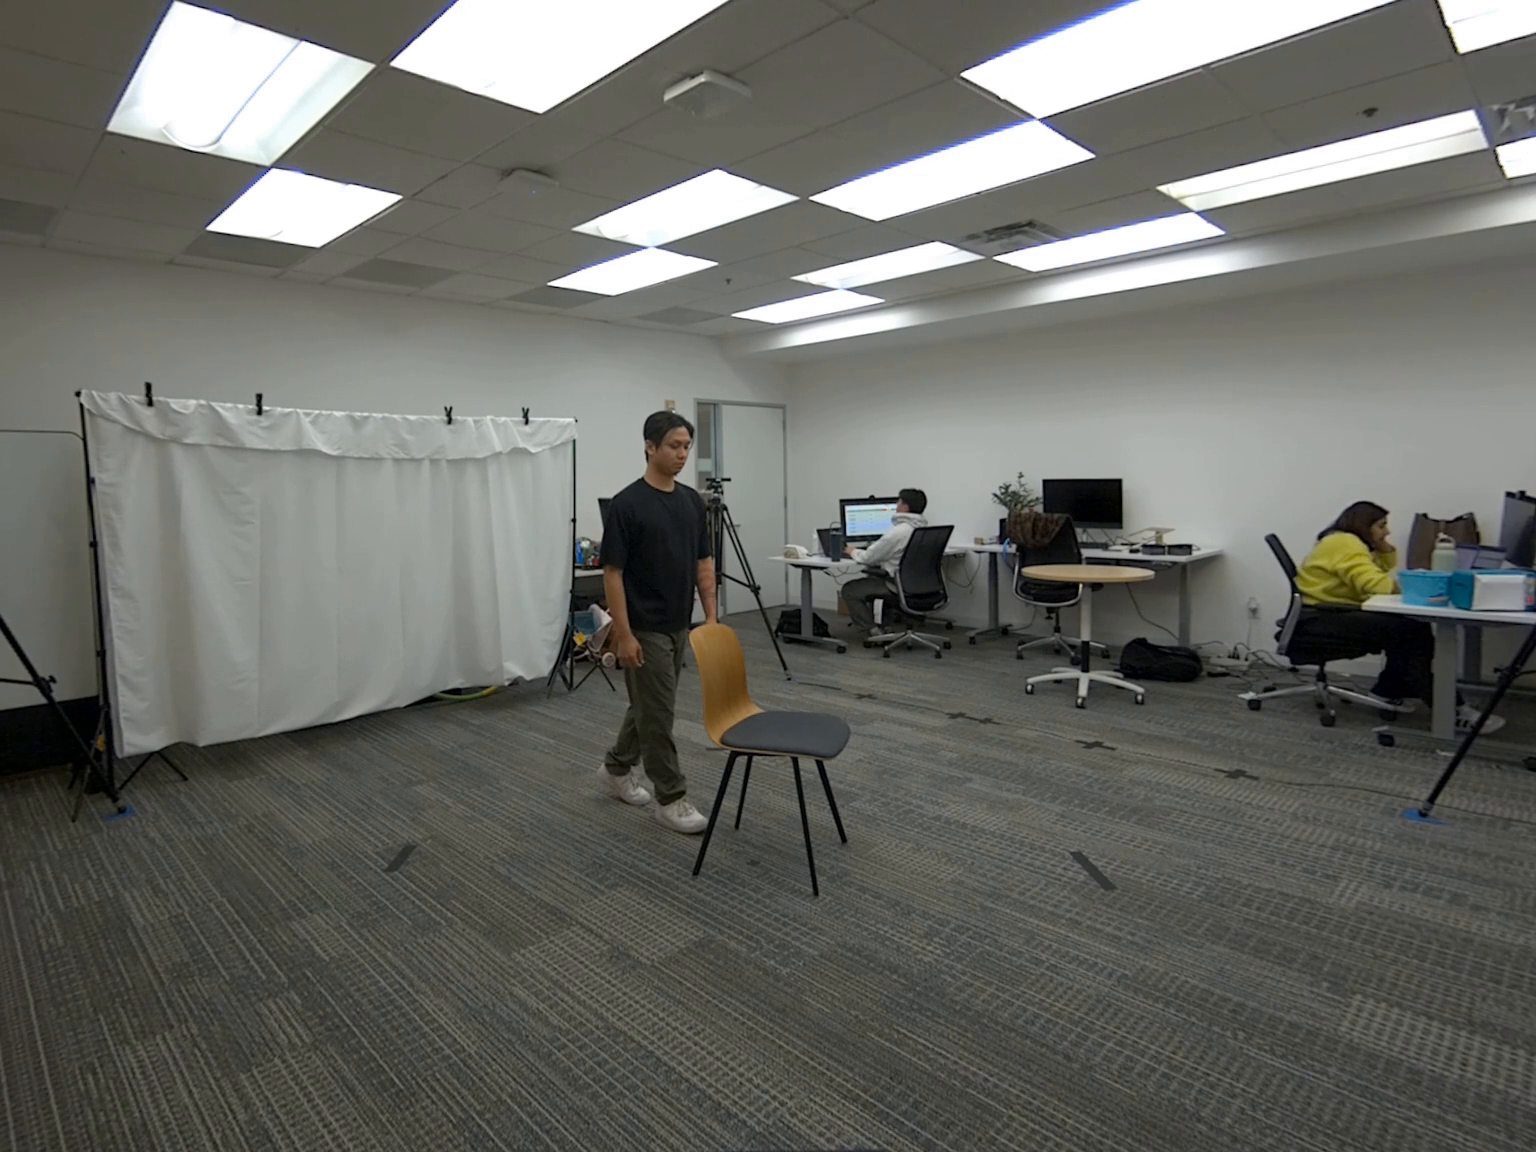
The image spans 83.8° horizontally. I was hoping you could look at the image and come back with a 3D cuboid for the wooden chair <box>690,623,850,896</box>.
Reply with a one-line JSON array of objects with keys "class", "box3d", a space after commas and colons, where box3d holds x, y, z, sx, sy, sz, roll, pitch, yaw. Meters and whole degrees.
[{"class": "wooden chair", "box3d": [0.023, 0.612, 3.100, 0.533, 0.876, 0.470, -4, 3, 20]}]
